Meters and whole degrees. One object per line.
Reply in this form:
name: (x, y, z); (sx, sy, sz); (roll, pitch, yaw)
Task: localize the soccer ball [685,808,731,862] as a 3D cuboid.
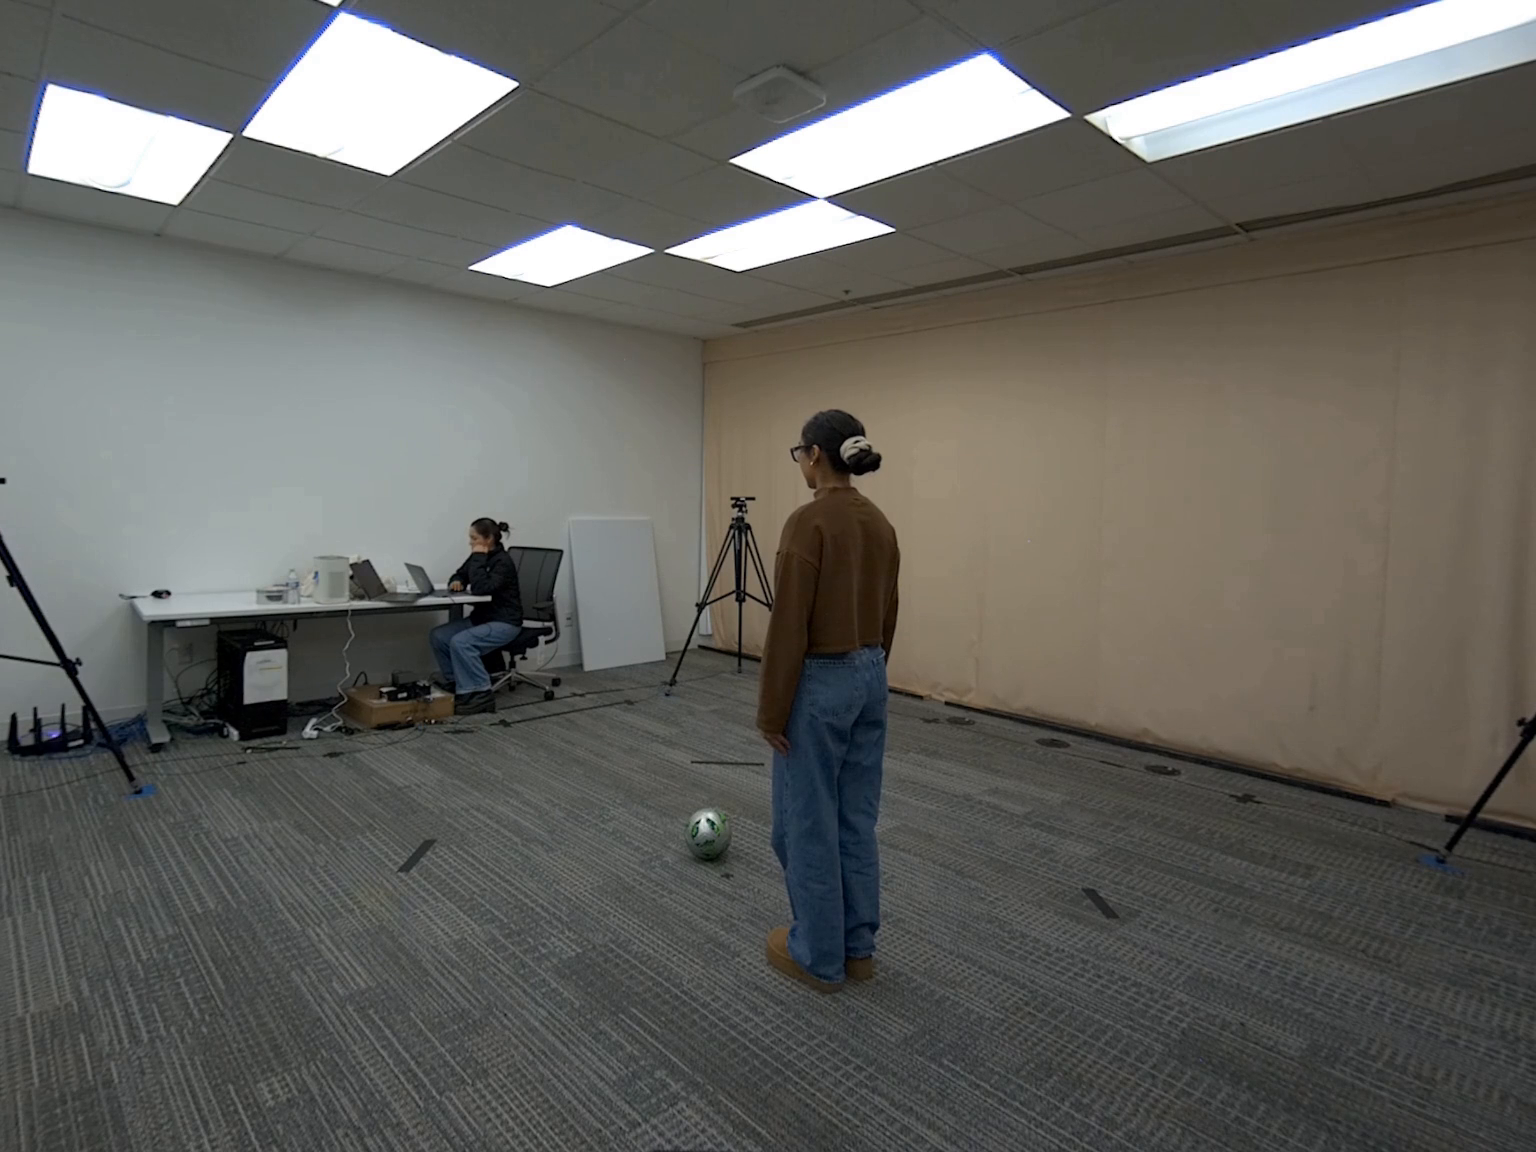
soccer ball: (-0.239, 0.995, 3.258); (0.187, 0.187, 0.188); (1, 4, -1)
